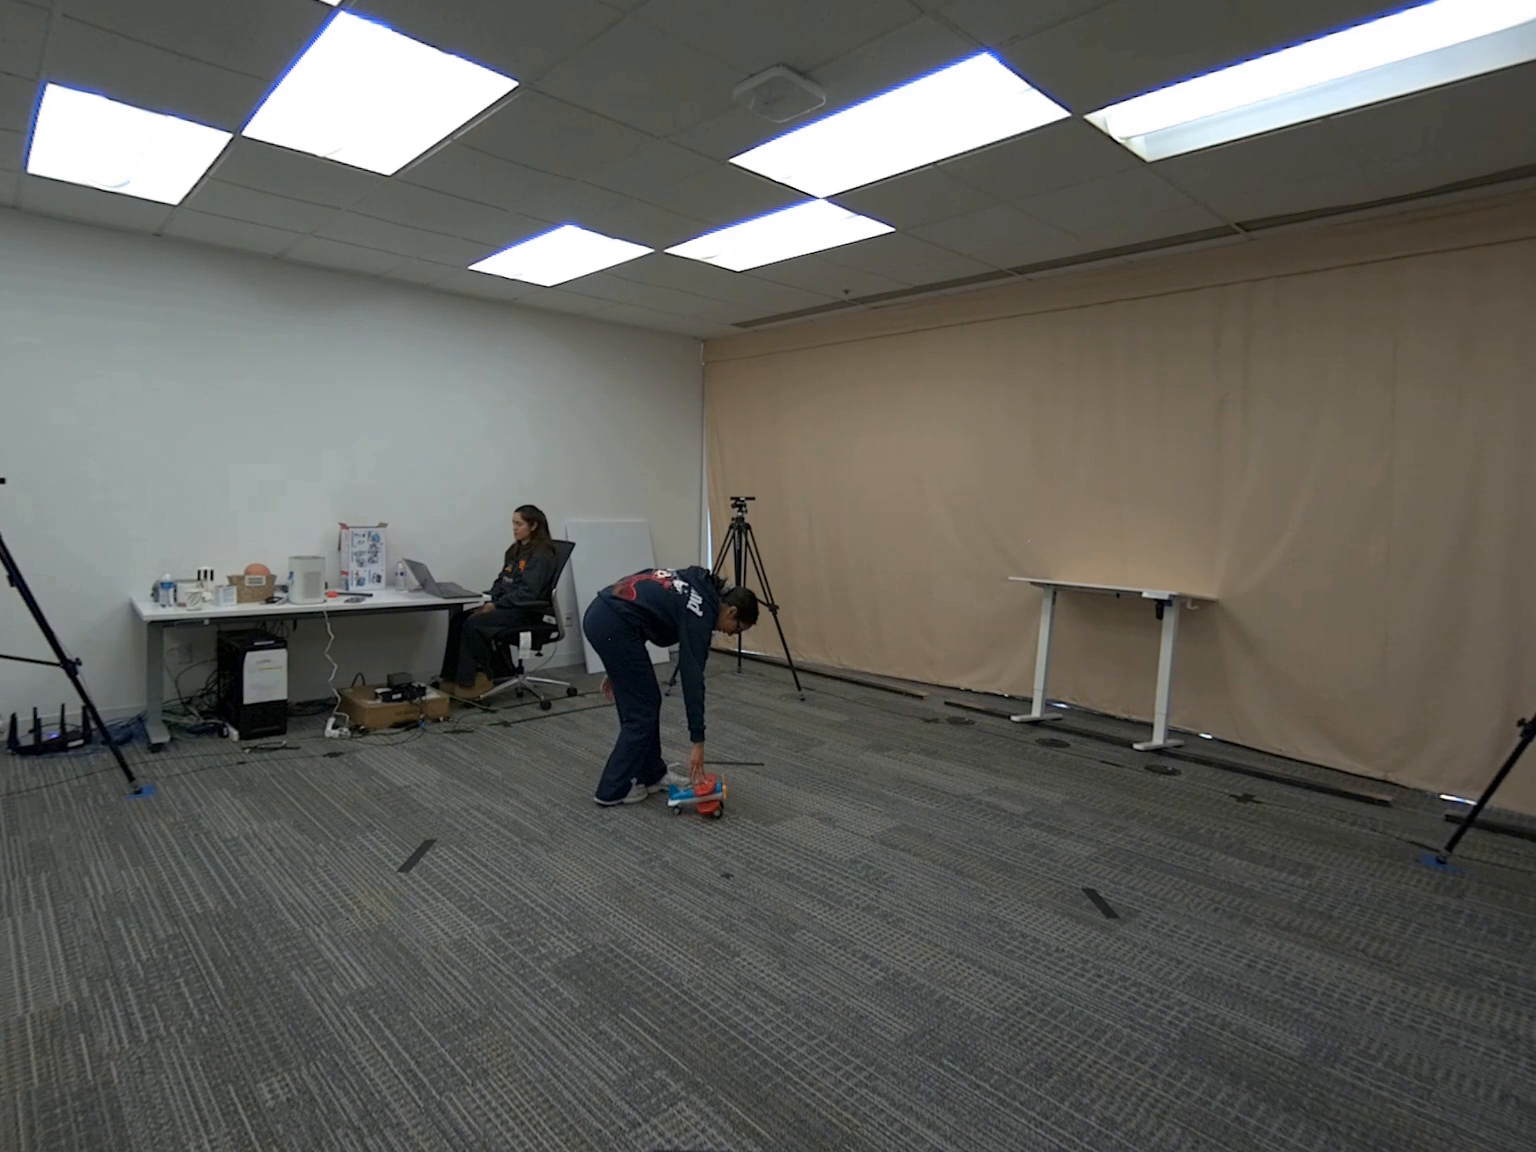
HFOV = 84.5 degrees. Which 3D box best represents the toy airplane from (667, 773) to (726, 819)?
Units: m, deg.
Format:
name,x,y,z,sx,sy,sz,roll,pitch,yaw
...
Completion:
name,x,y,z,sx,sy,sz,roll,pitch,yaw
toy airplane,-0.319,0.979,3.691,0.254,0.156,0.256,1,4,-25
